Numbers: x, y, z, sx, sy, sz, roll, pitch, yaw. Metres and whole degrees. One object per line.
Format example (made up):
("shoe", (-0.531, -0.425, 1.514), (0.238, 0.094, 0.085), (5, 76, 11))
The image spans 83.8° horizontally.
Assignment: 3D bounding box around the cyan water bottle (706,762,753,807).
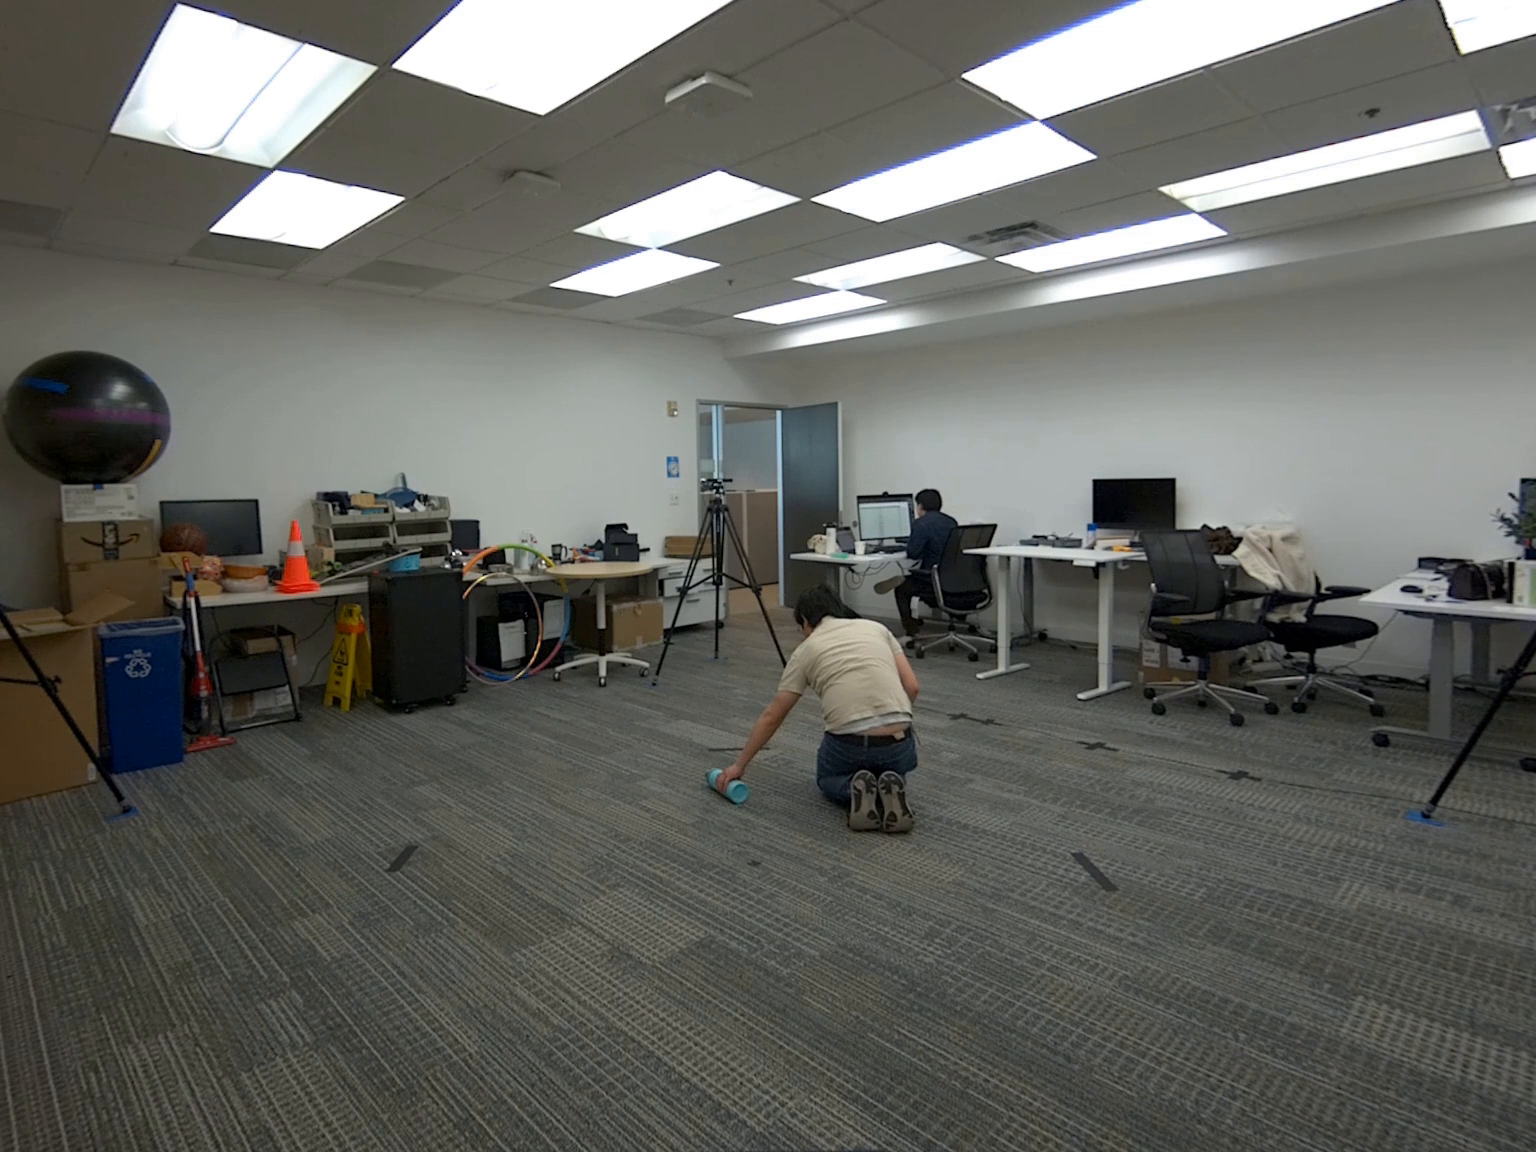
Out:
("cyan water bottle", (-0.176, 0.923, 3.814), (0.090, 0.092, 0.291), (-3, 7, -27))
